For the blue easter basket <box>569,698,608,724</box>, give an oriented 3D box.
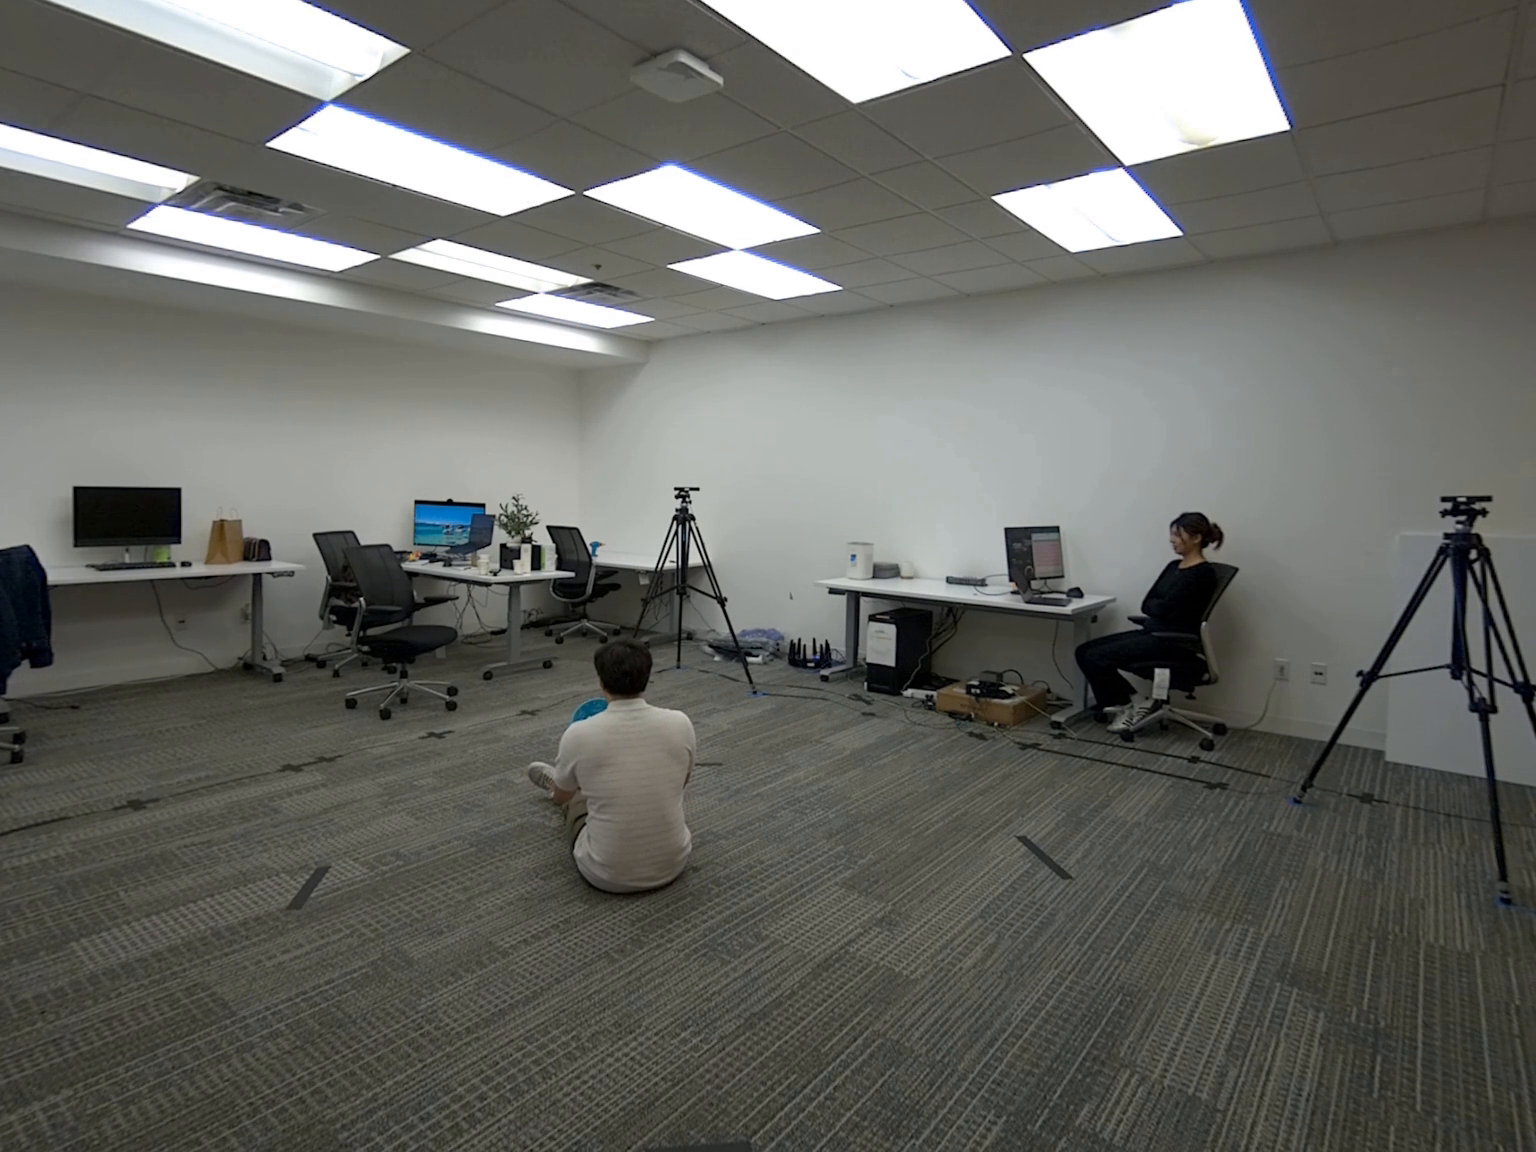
[{"bbox_3d":[-0.702,0.637,3.463,0.241,0.251,0.152,0,-38,-8],"label":"blue easter basket"}]
